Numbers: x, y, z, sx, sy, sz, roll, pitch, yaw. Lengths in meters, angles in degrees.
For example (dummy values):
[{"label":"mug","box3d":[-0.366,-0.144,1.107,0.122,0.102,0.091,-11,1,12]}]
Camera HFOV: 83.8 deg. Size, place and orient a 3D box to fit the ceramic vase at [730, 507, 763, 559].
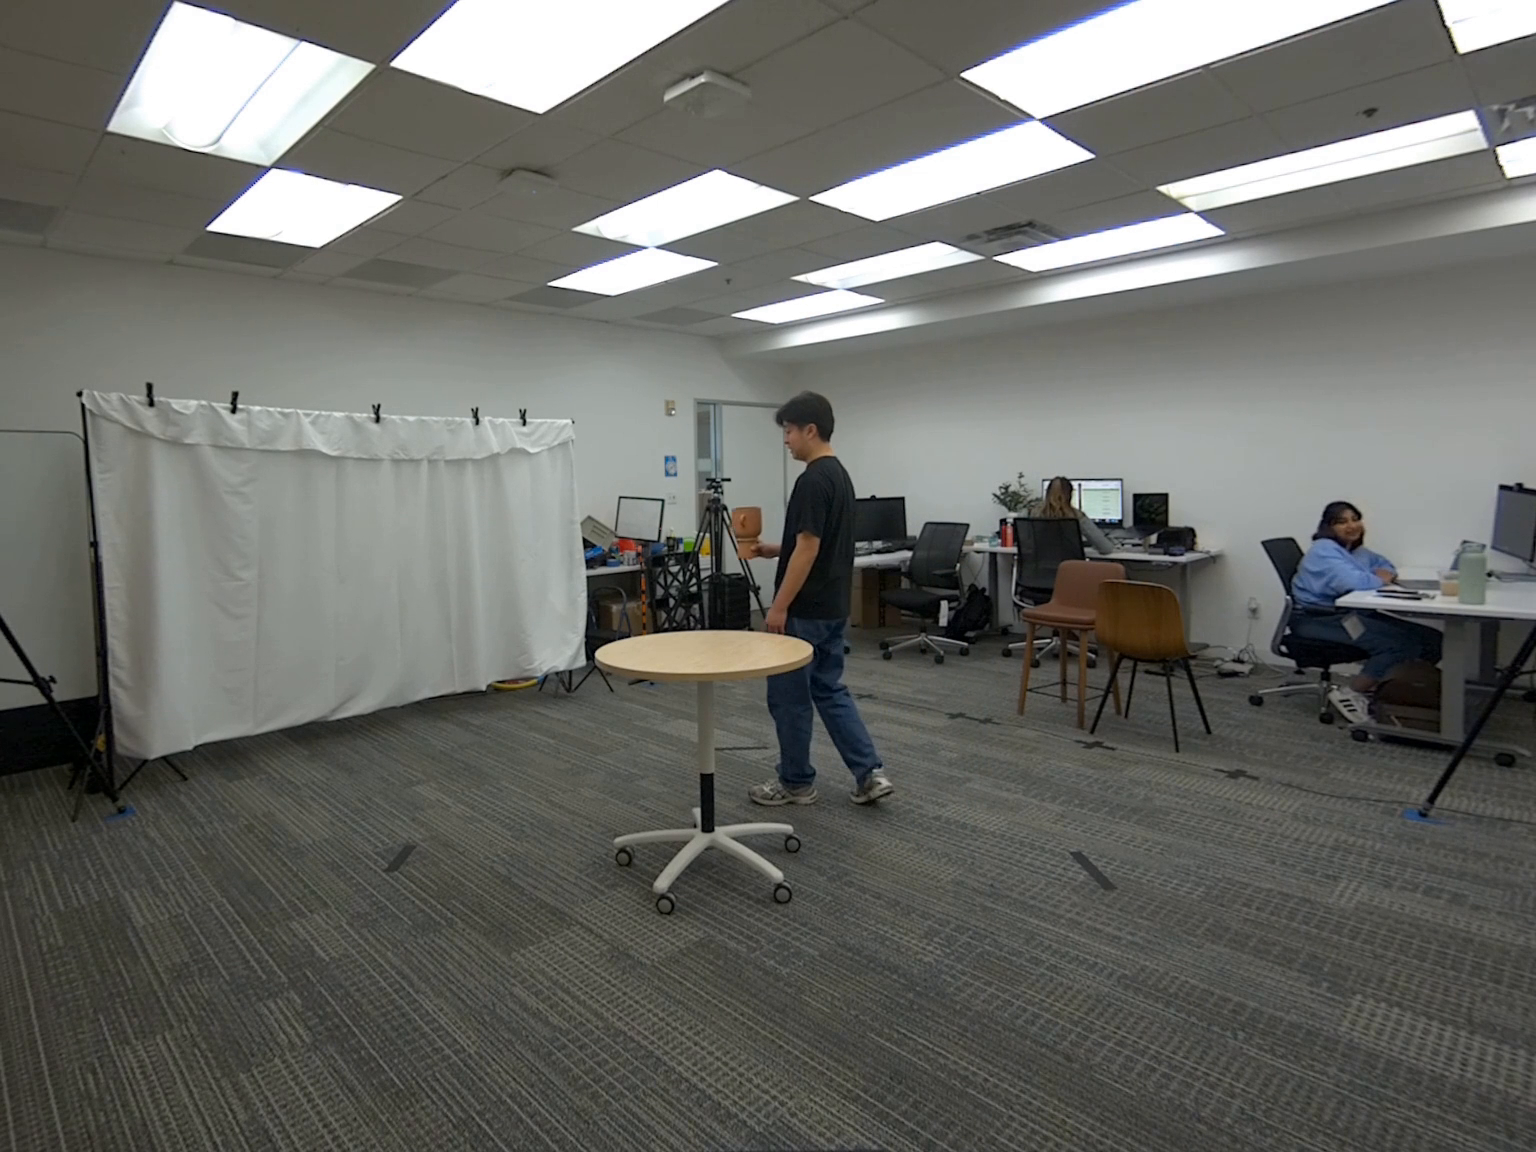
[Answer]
[{"label":"ceramic vase","box3d":[-0.087,-0.196,3.796,0.155,0.219,0.139,-6,6,-37]}]
